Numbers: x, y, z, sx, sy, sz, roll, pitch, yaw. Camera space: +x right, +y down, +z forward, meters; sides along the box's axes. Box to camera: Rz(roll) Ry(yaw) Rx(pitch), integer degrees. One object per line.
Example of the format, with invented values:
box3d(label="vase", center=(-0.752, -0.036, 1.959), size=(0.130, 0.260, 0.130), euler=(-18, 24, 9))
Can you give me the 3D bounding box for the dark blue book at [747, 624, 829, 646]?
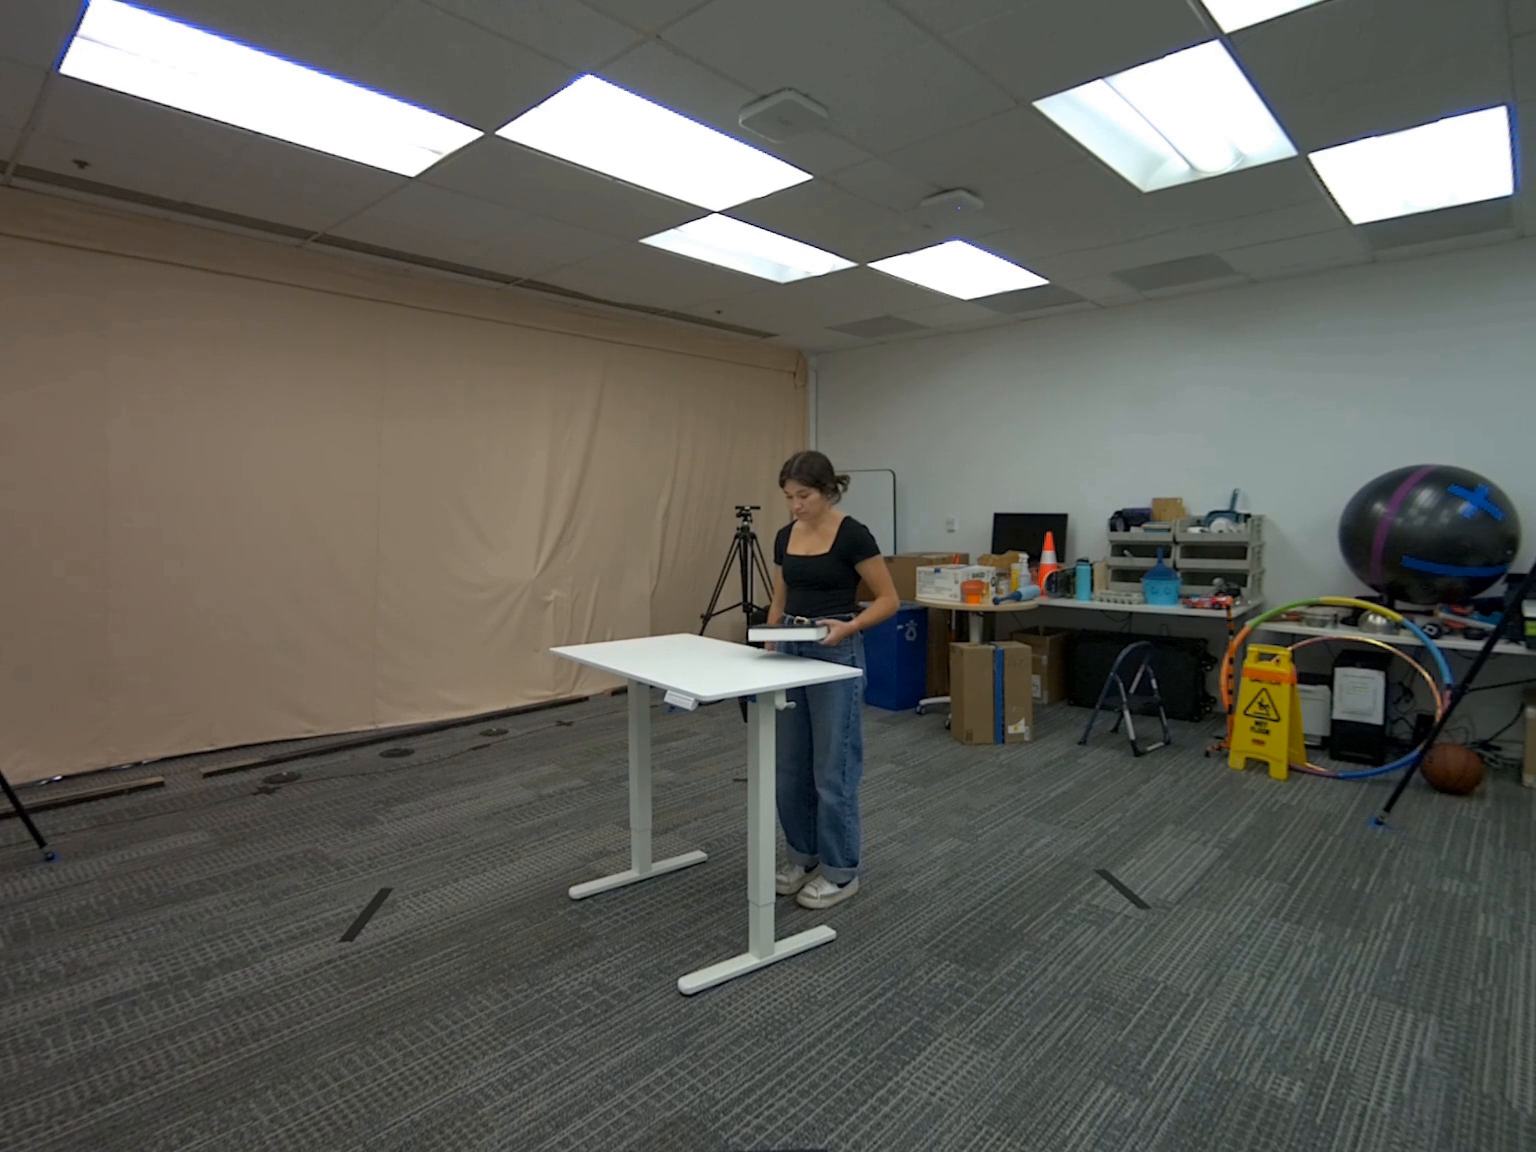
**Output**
box3d(label="dark blue book", center=(0.071, 0.185, 2.826), size=(0.250, 0.045, 0.160), euler=(-2, 1, 20))
